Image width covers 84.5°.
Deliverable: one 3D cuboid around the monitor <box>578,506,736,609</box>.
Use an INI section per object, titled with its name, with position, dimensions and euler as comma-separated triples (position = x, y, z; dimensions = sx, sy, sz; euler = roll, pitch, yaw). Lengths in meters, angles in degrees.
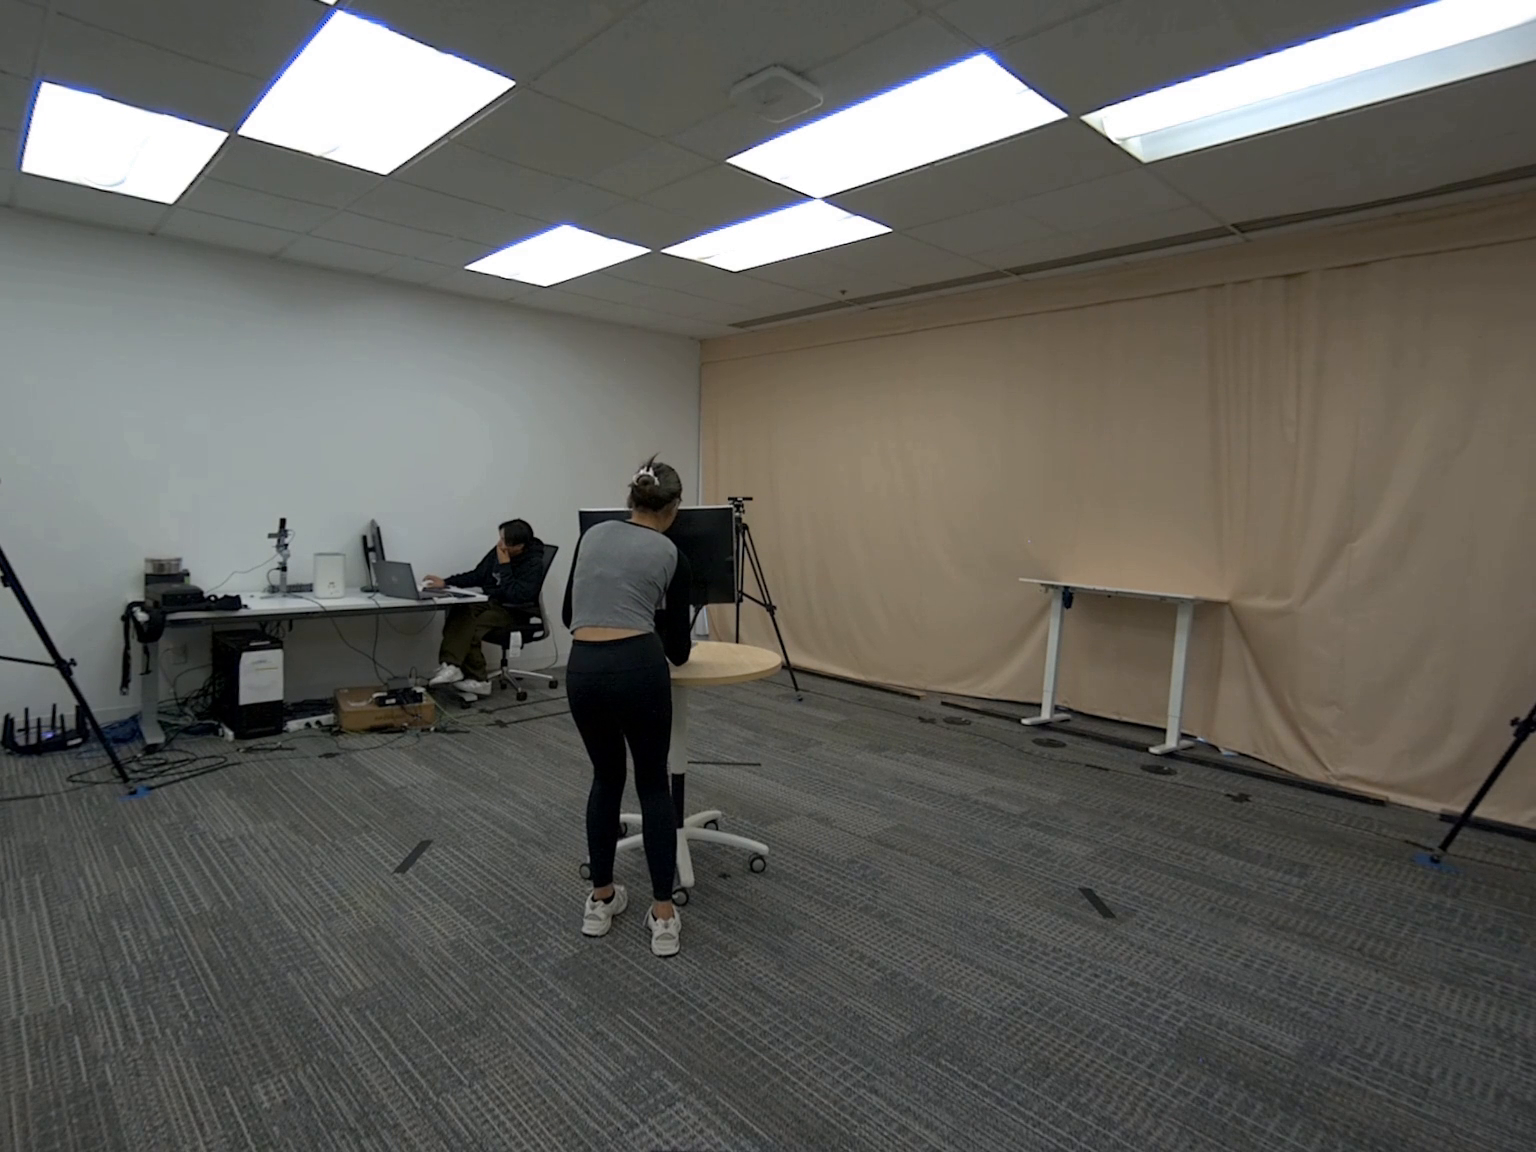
[monitor]
position = -0.386, 0.023, 2.996
dimensions = 0.540, 0.523, 0.187
euler = -2, 0, 1
